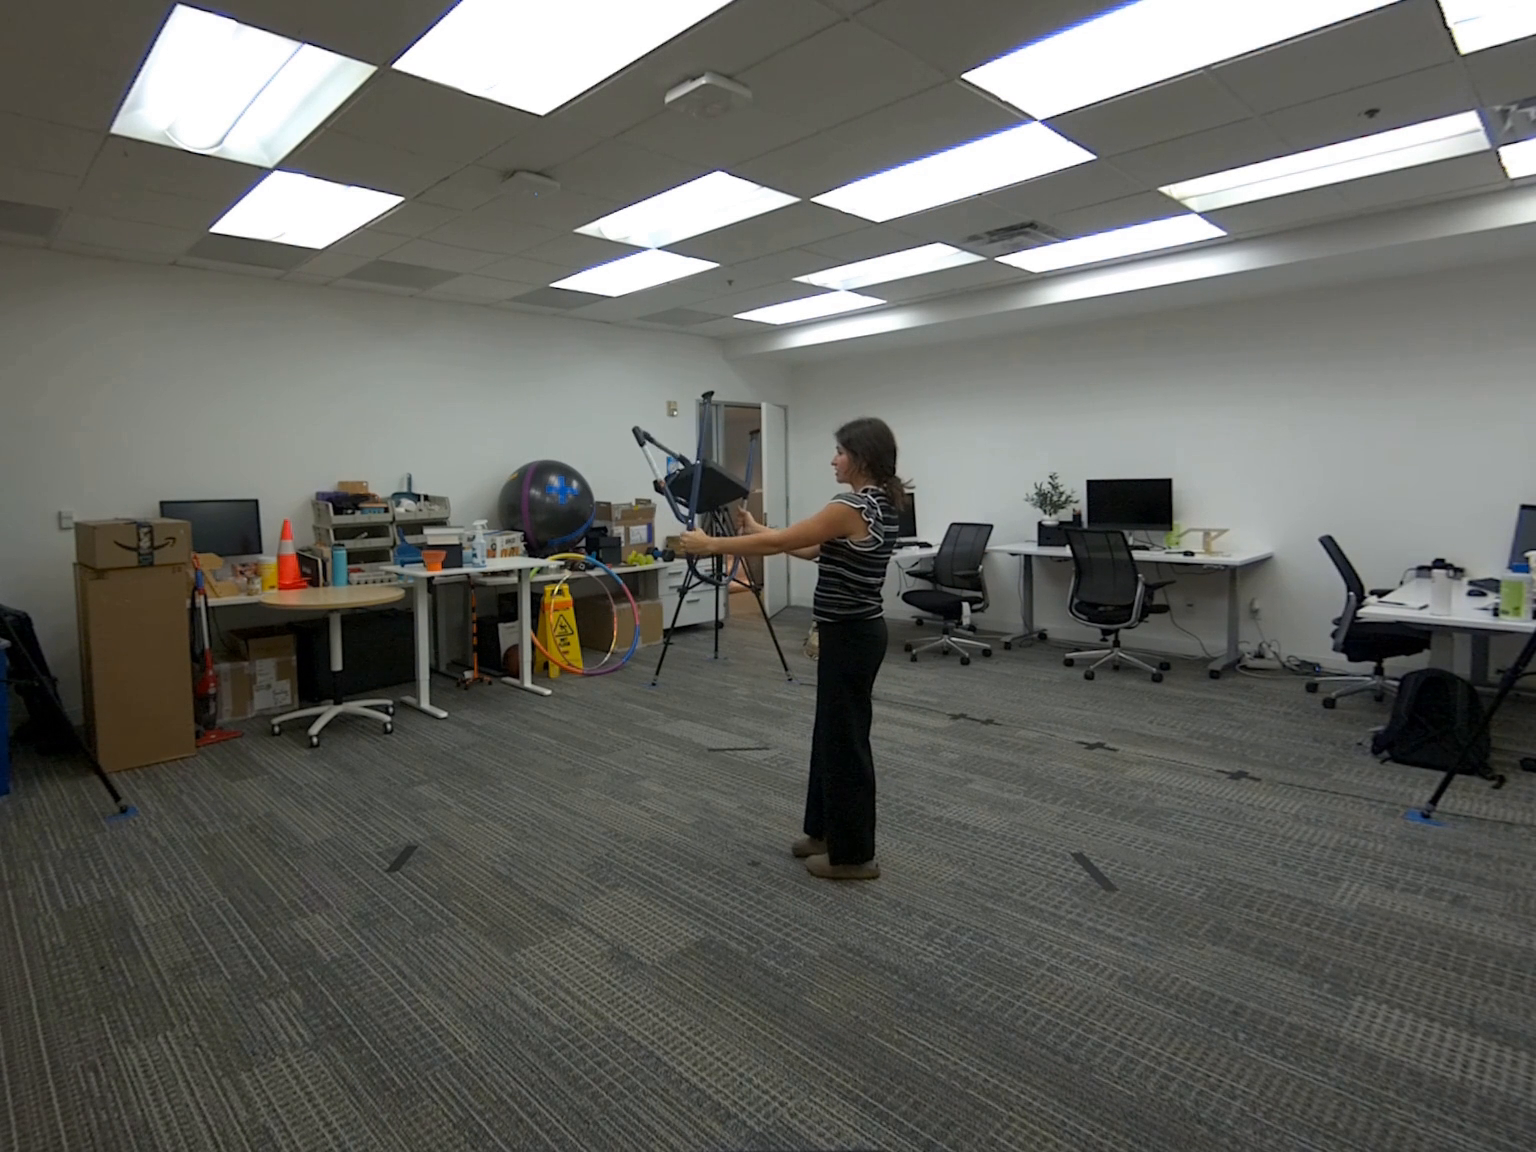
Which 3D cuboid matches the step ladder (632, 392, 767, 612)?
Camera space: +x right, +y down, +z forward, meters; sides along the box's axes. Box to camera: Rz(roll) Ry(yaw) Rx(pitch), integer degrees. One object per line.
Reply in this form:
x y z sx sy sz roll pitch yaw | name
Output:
-0.206 -0.274 3.160 0.353 0.620 0.416 -22 -22 20 | step ladder
